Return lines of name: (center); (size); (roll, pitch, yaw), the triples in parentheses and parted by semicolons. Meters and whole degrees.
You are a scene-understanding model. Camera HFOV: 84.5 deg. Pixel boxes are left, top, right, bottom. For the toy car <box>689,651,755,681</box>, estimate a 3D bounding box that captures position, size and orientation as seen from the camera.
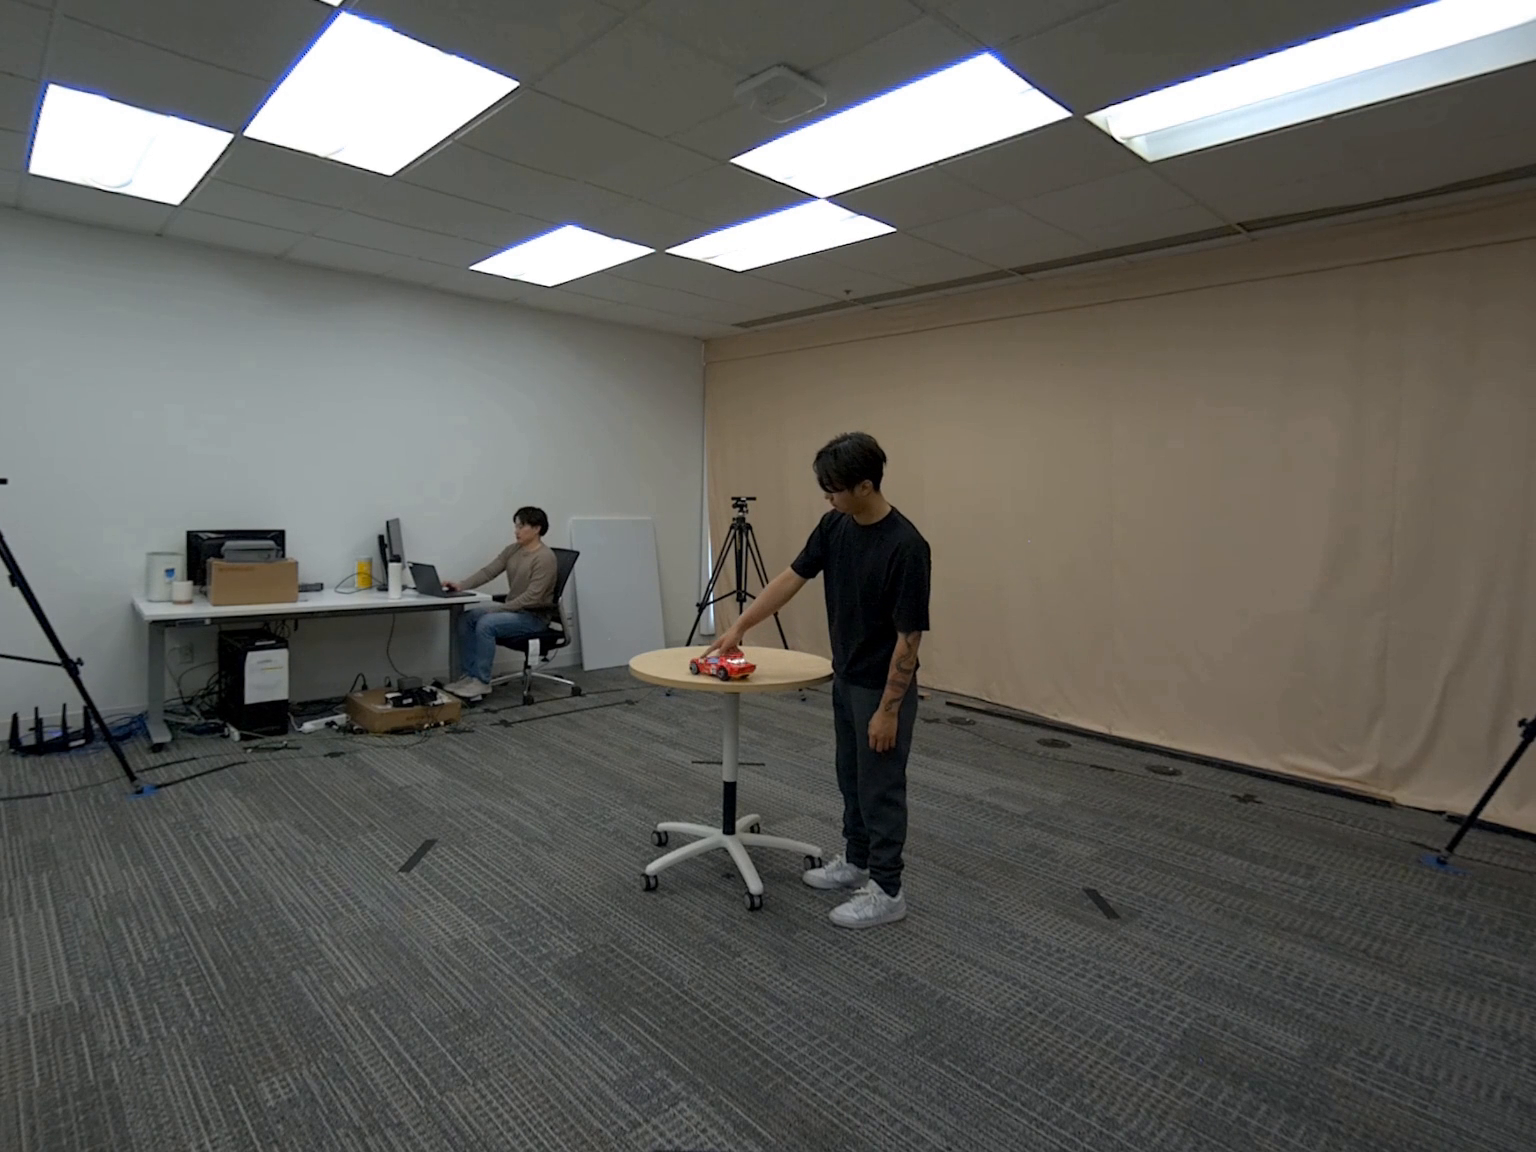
toy car: (-0.151, 0.311, 2.852); (0.127, 0.083, 0.259); (-2, -6, -44)
